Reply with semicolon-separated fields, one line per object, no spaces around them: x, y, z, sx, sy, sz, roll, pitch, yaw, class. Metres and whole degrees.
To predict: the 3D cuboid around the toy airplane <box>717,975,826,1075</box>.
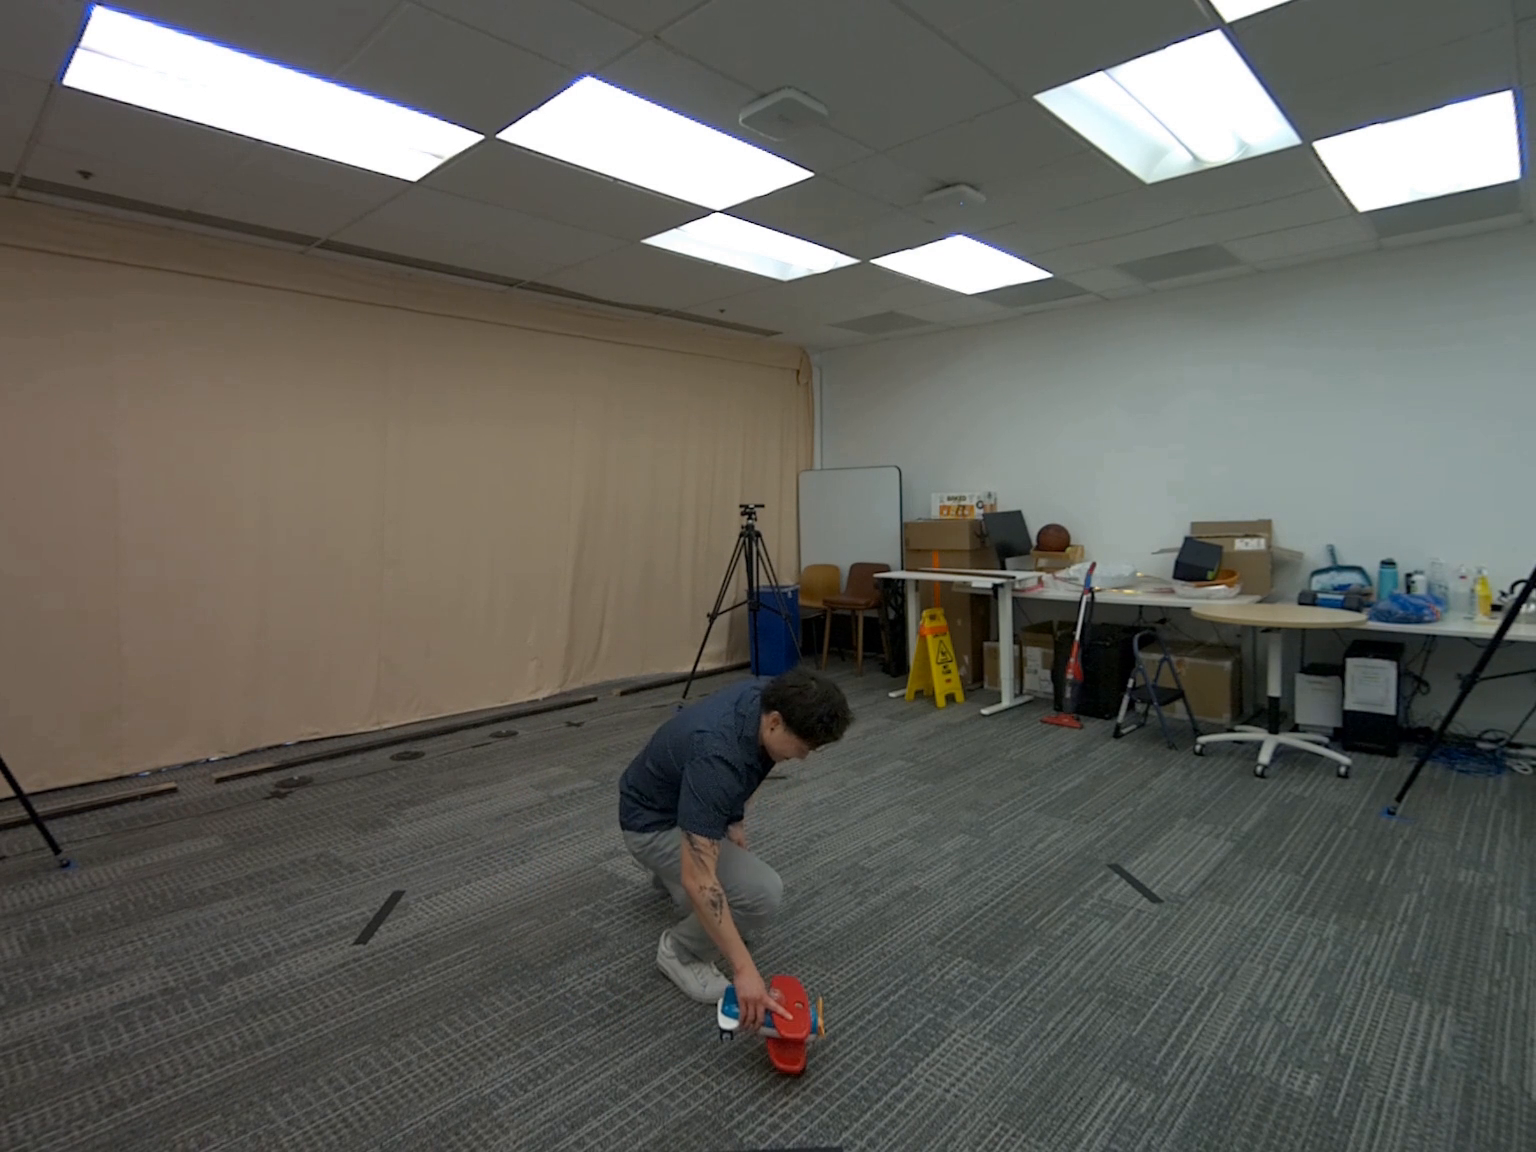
0.017;1.119;2.068;0.251;0.156;0.259;21;3;-32;toy airplane
